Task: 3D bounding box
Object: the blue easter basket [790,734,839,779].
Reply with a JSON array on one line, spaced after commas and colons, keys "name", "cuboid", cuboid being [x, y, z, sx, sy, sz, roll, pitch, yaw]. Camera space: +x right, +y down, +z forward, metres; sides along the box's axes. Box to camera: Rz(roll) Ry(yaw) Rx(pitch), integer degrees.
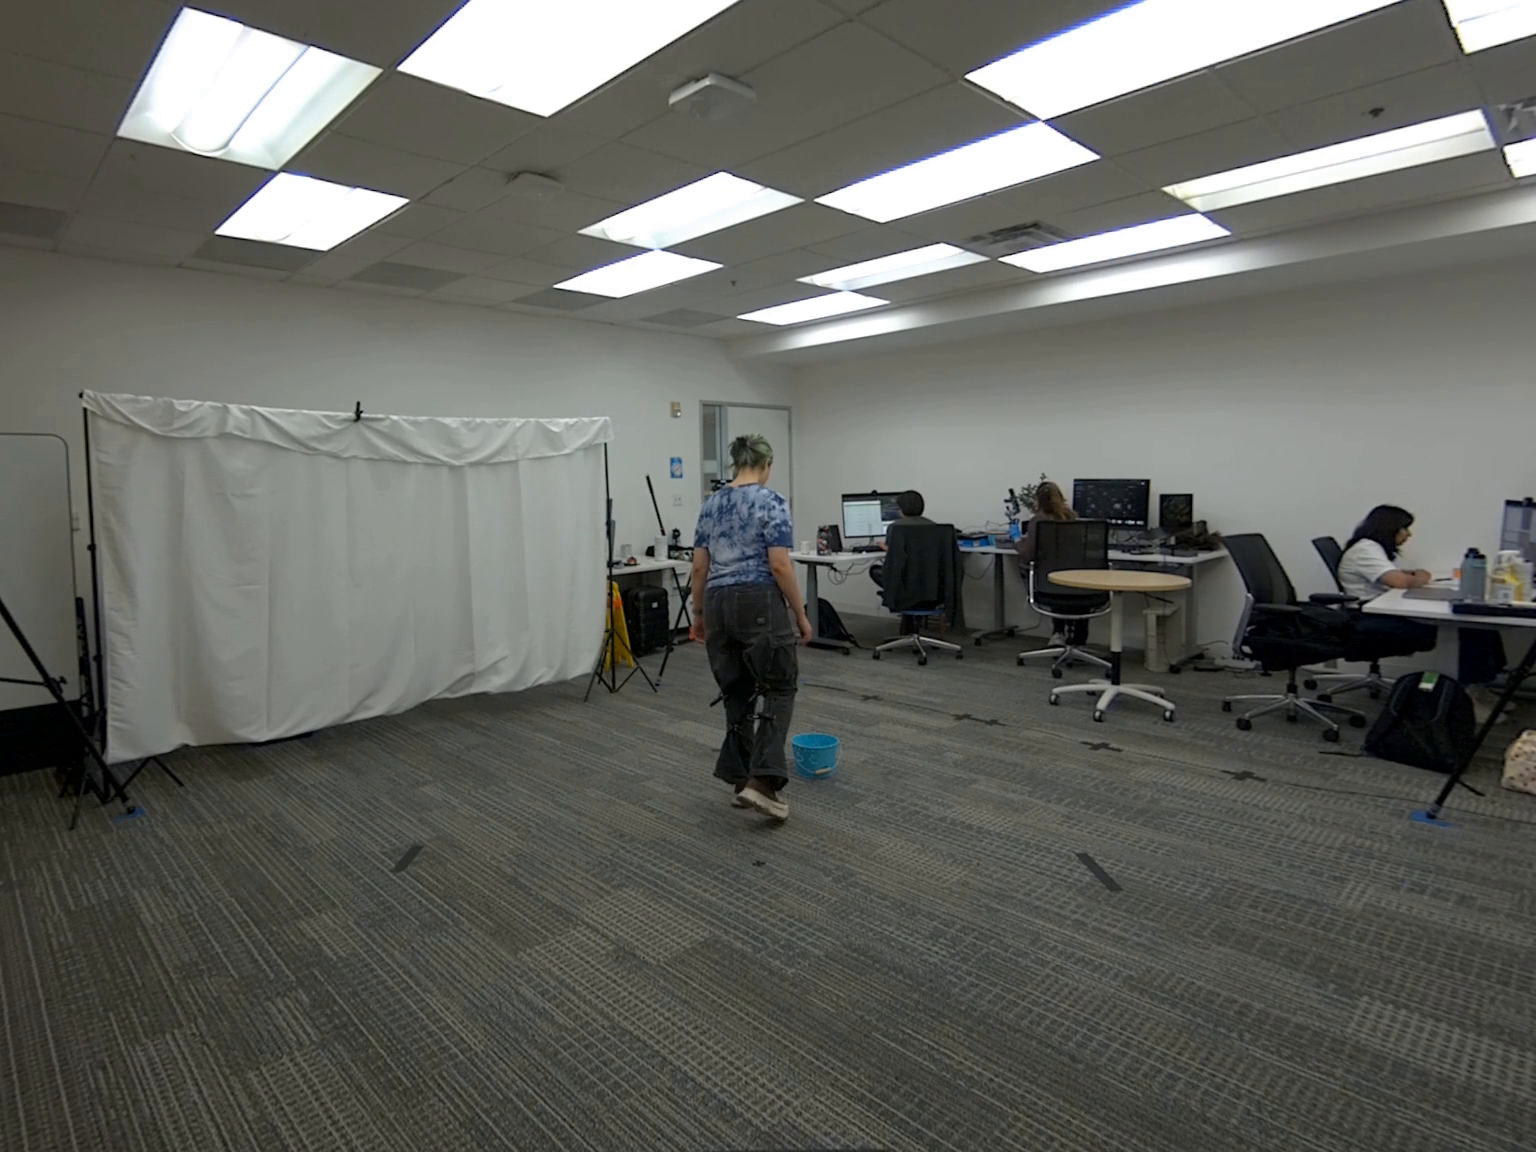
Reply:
[{"name": "blue easter basket", "cuboid": [0.218, 0.857, 4.077, 0.243, 0.155, 0.245, -1, 5, -2]}]
